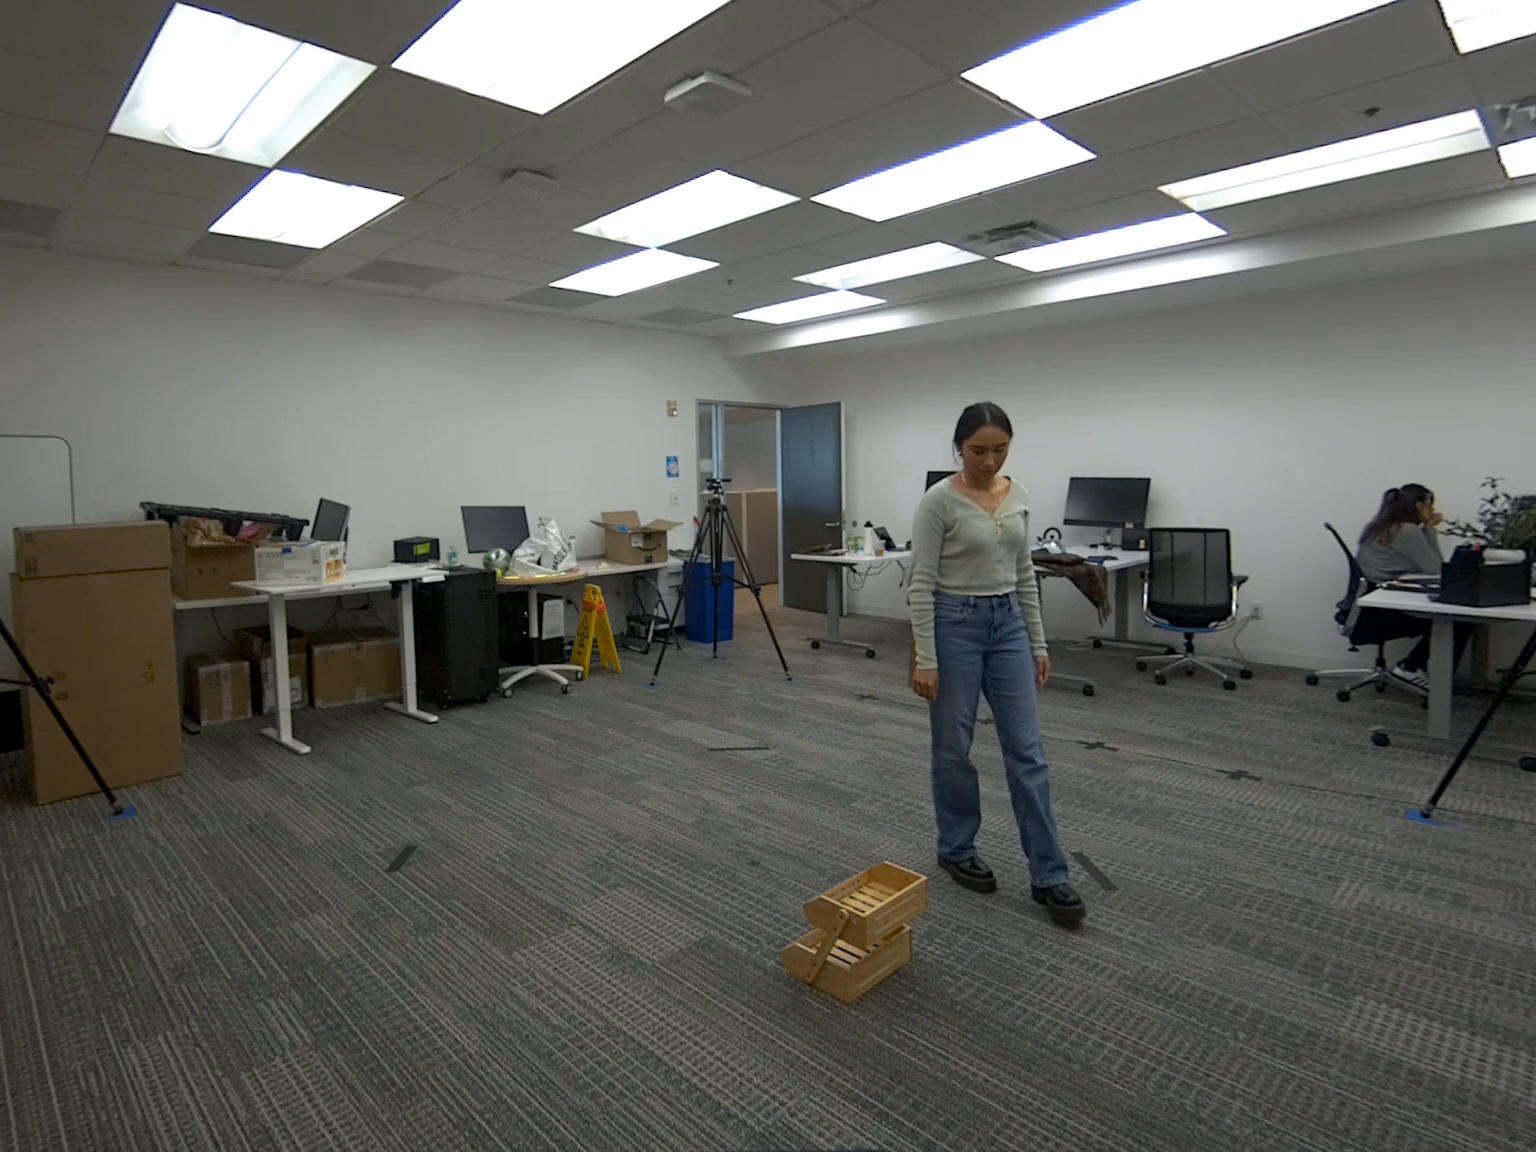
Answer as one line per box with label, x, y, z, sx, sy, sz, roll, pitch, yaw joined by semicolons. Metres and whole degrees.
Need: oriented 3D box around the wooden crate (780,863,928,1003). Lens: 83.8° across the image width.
wooden crate;0.248;0.983;2.430;0.311;0.272;0.316;5;8;43
